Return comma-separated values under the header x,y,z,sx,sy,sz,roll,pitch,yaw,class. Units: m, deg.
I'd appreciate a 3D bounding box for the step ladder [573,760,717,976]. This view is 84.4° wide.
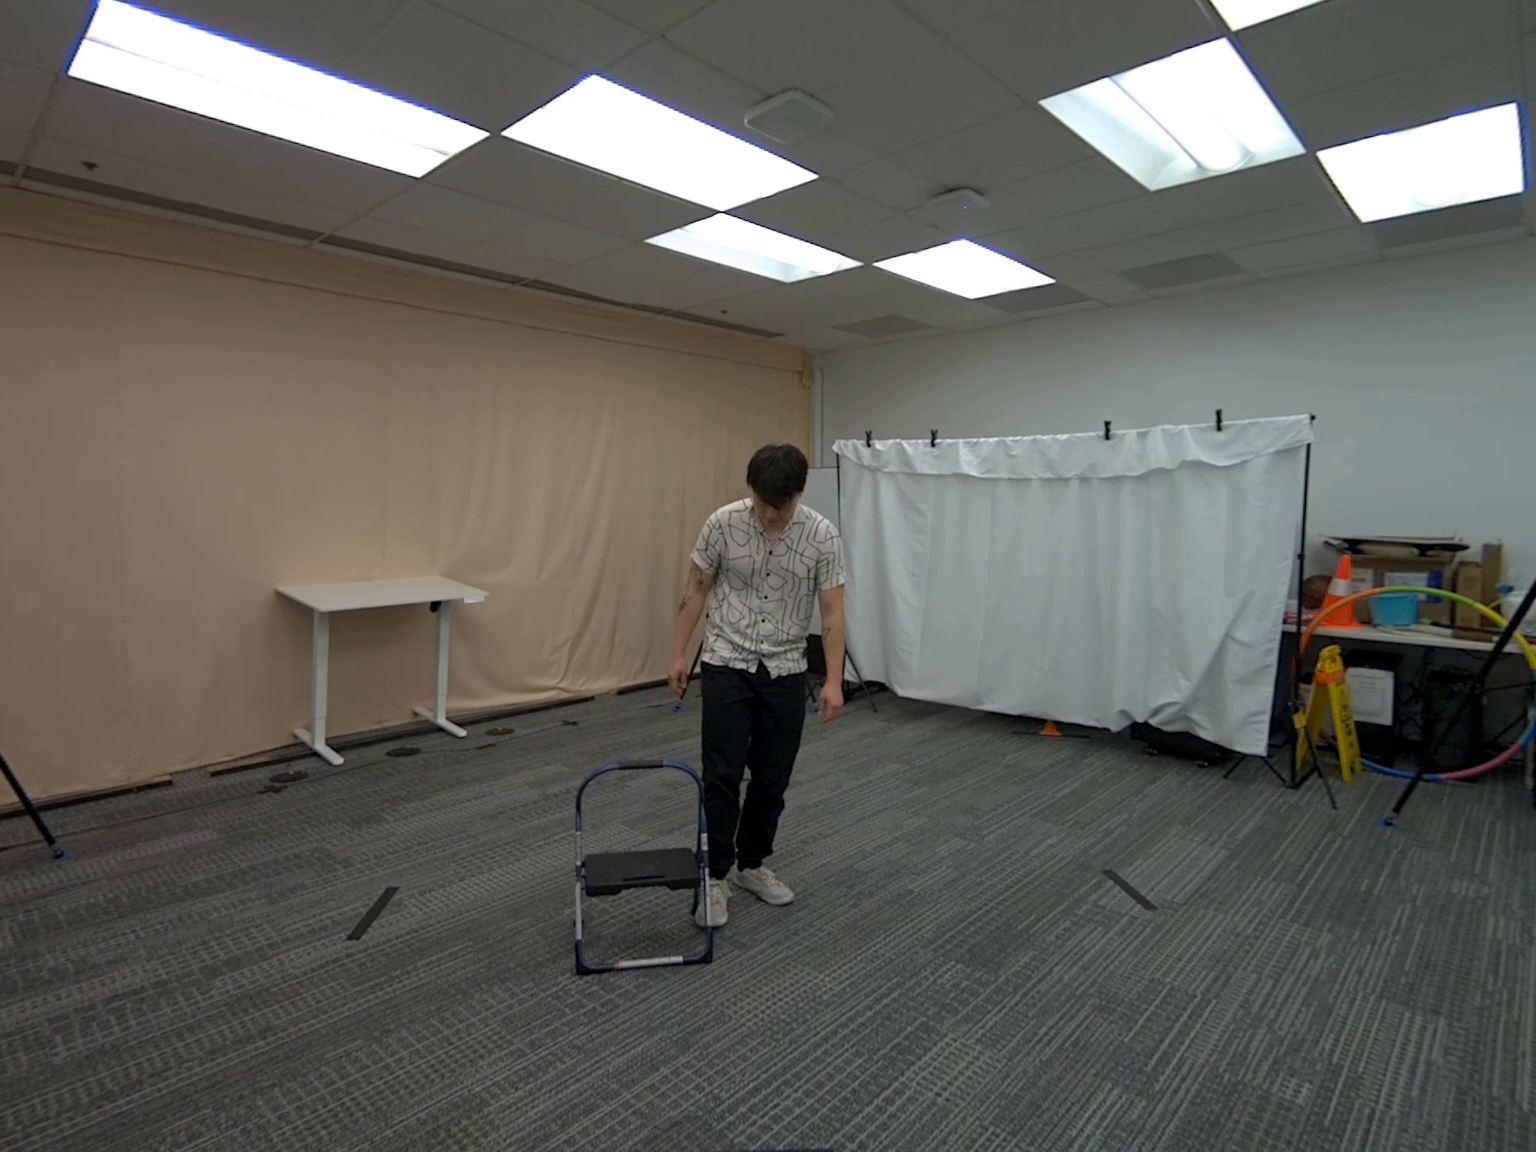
x,y,z,sx,sy,sz,roll,pitch,yaw,class
-0.411,0.870,2.677,0.426,0.605,0.354,-1,3,-11,step ladder
